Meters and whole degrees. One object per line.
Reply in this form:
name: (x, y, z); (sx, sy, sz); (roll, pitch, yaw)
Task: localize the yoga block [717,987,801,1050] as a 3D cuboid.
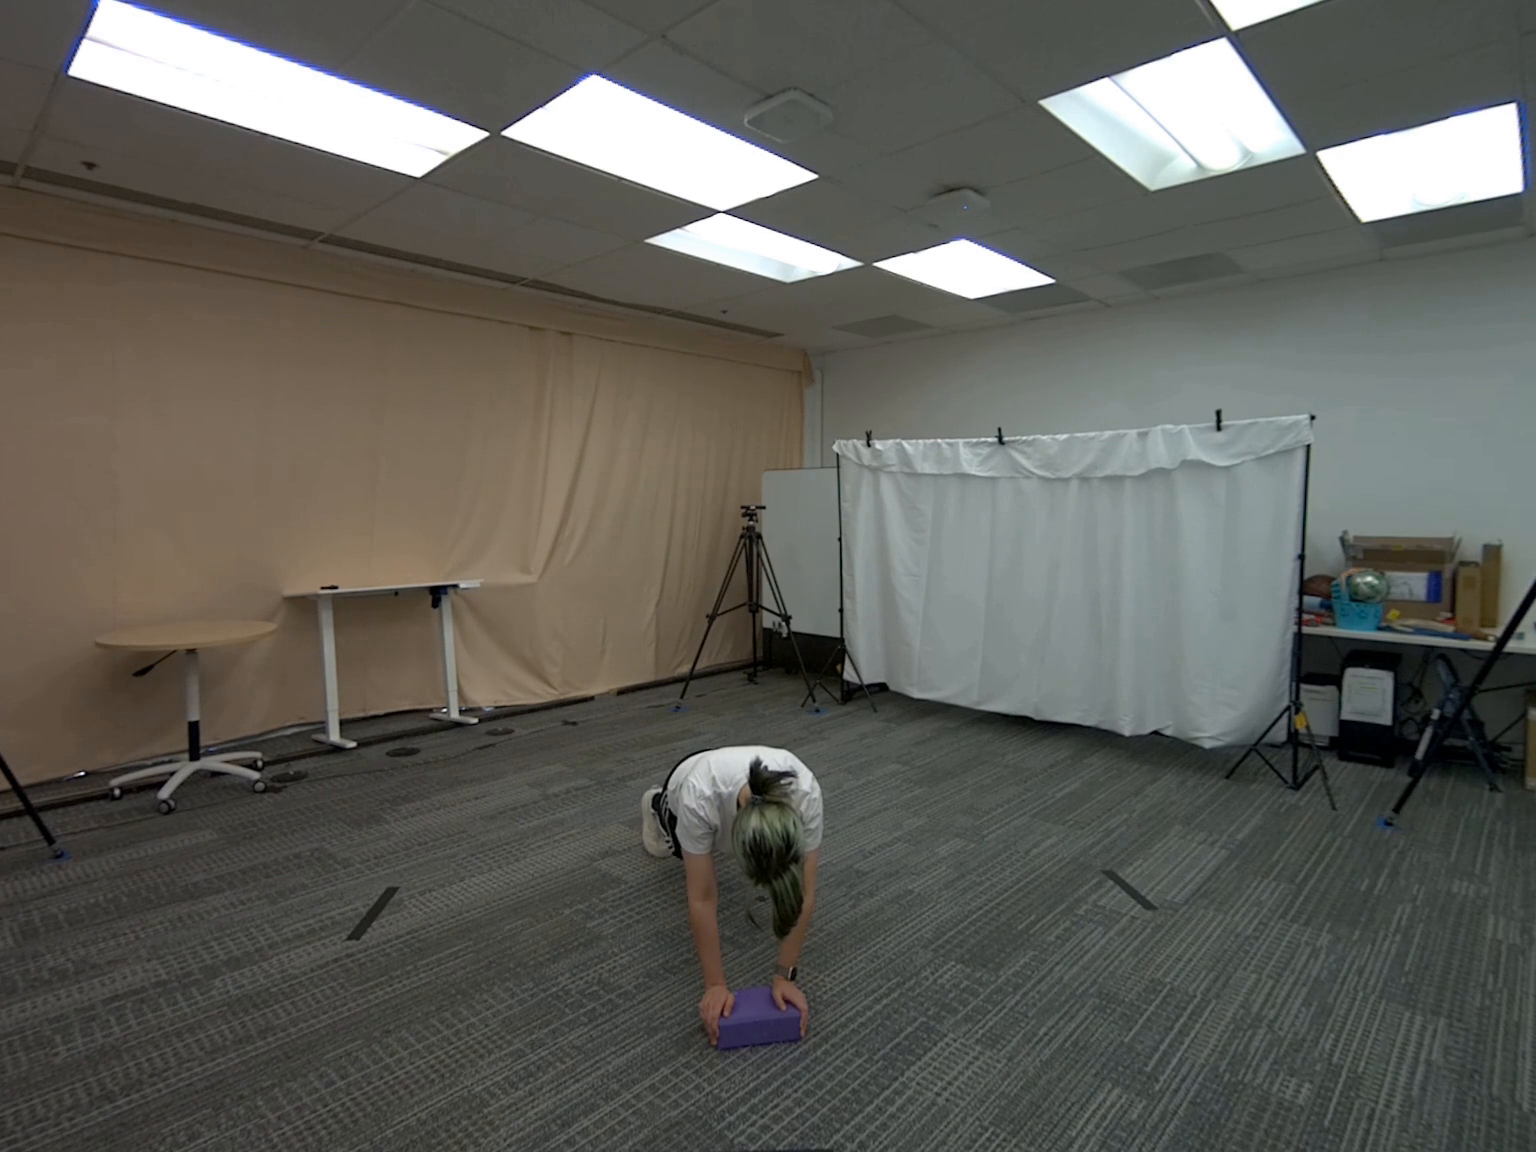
yoga block: (-0.042, 1.167, 2.245); (0.227, 0.076, 0.151); (1, 4, -10)
